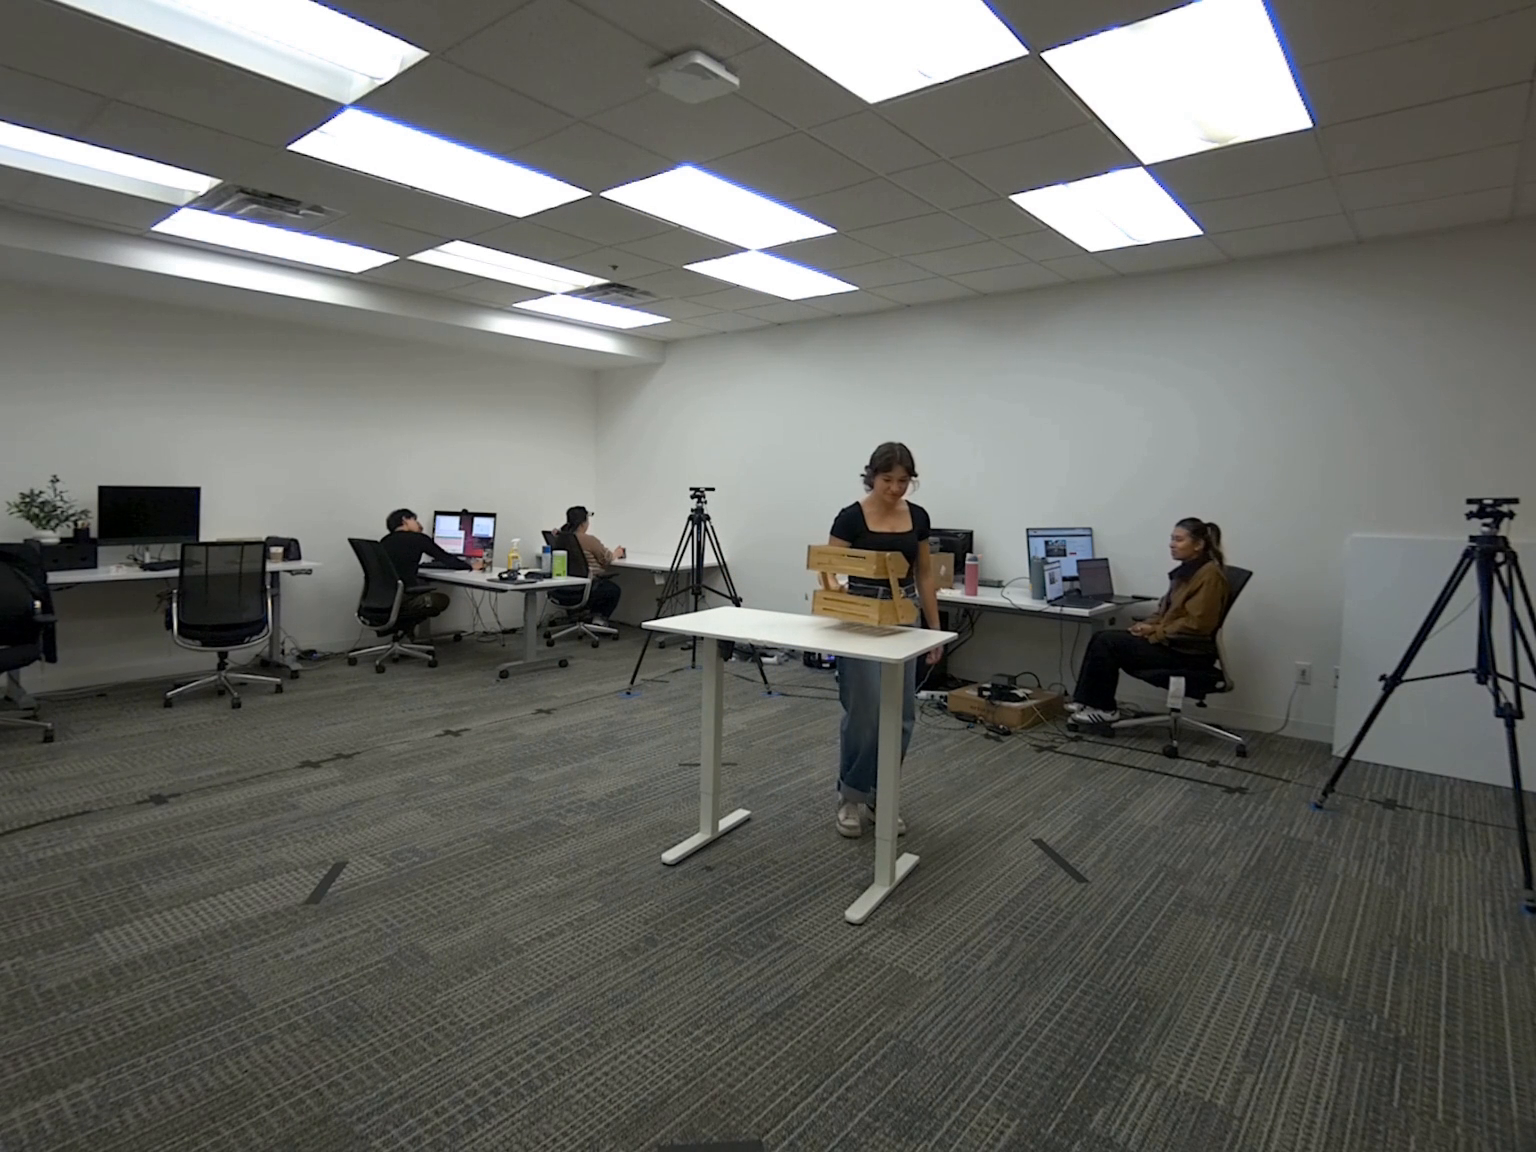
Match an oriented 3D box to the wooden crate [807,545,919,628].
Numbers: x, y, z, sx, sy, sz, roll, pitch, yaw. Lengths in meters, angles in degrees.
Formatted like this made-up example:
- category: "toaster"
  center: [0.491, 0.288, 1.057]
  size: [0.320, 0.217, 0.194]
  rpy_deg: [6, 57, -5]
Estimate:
- category: "wooden crate"
  center: [0.337, 0.024, 3.120]
  size: [0.336, 0.273, 0.292]
  rpy_deg: [8, 5, 44]
